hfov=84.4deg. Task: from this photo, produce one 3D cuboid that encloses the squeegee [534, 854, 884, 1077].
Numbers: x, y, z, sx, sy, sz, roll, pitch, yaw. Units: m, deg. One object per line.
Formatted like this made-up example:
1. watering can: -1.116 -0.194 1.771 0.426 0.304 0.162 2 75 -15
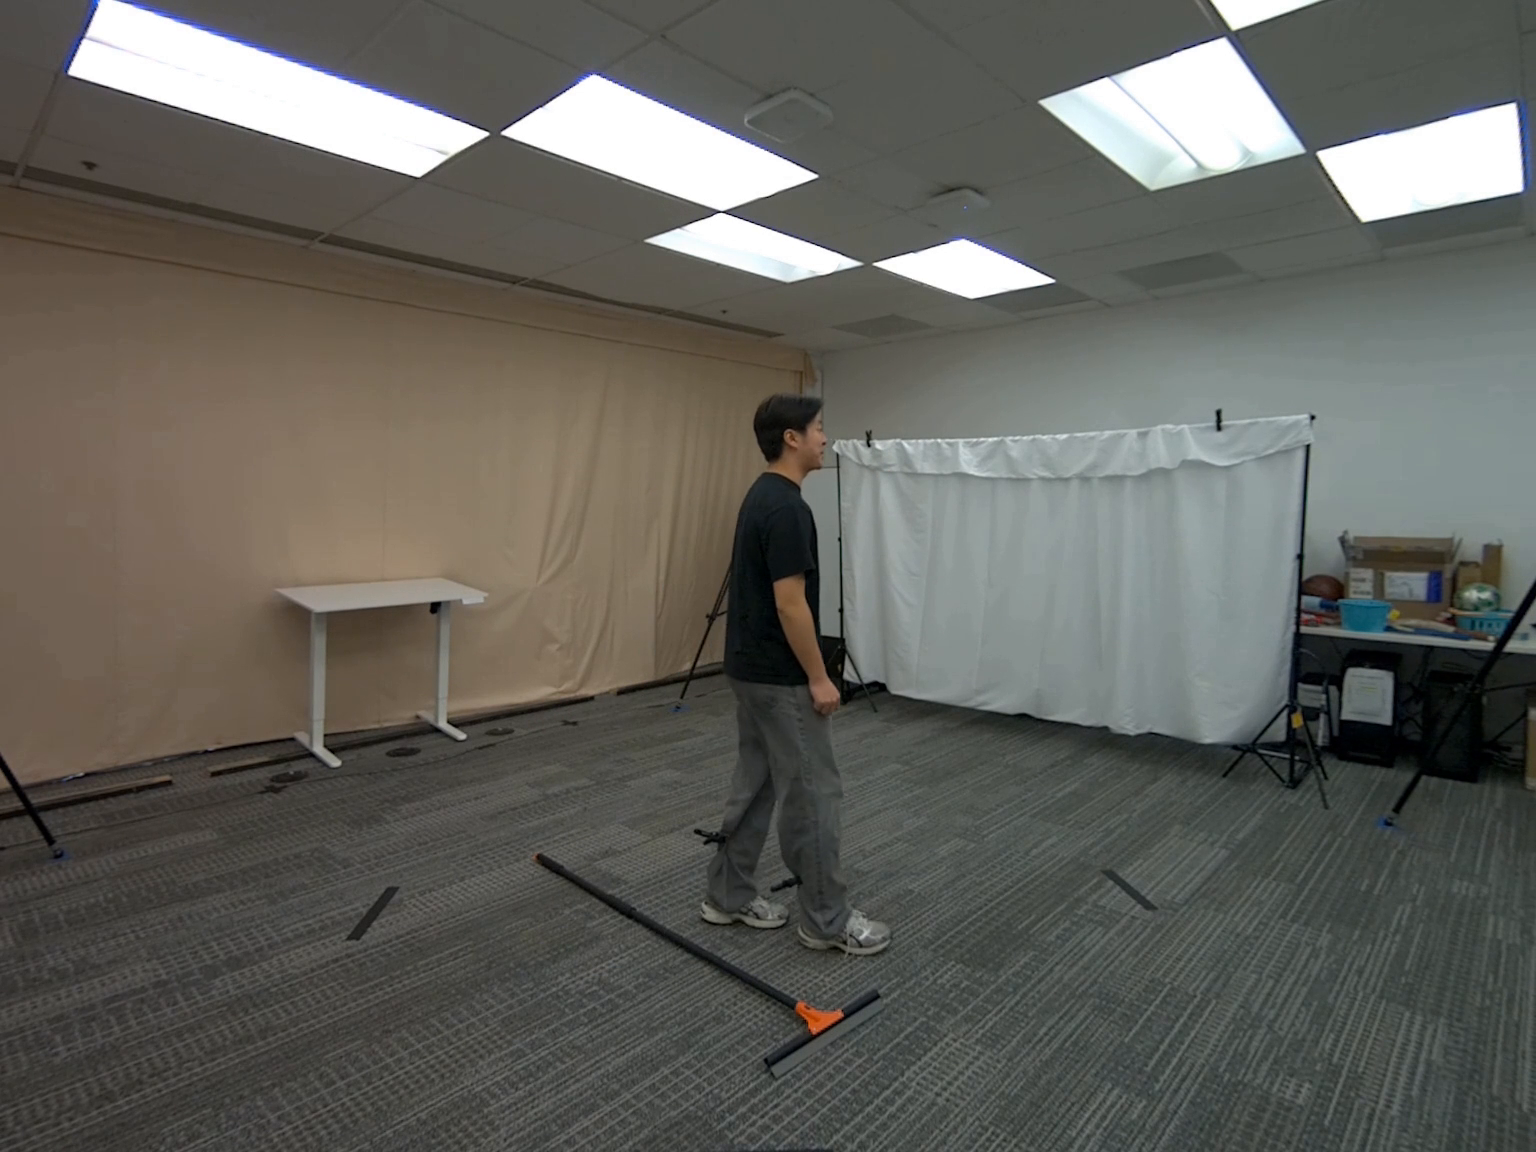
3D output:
1. squeegee: -0.363 1.131 2.759 0.424 0.053 1.588 -2 3 -44
